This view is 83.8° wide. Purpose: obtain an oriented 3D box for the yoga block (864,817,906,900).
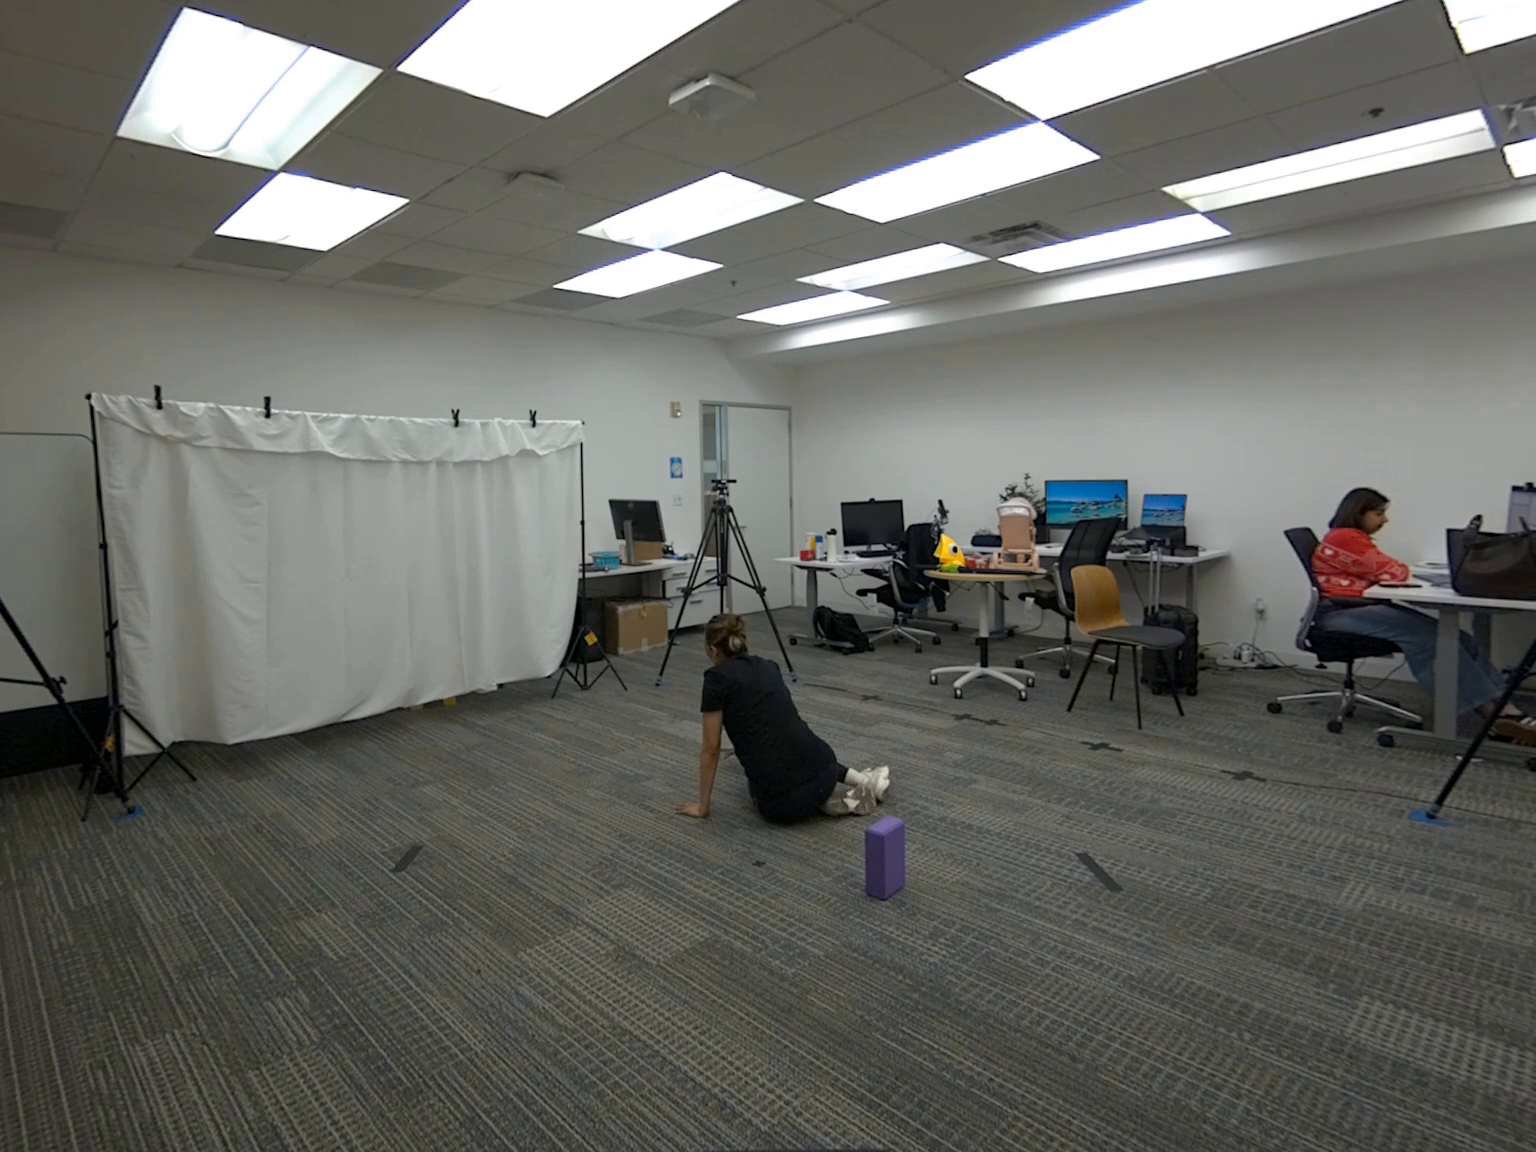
[{"bbox_3d":[0.400,0.948,2.880,0.078,0.229,0.145,0,3,39],"label":"yoga block"}]
